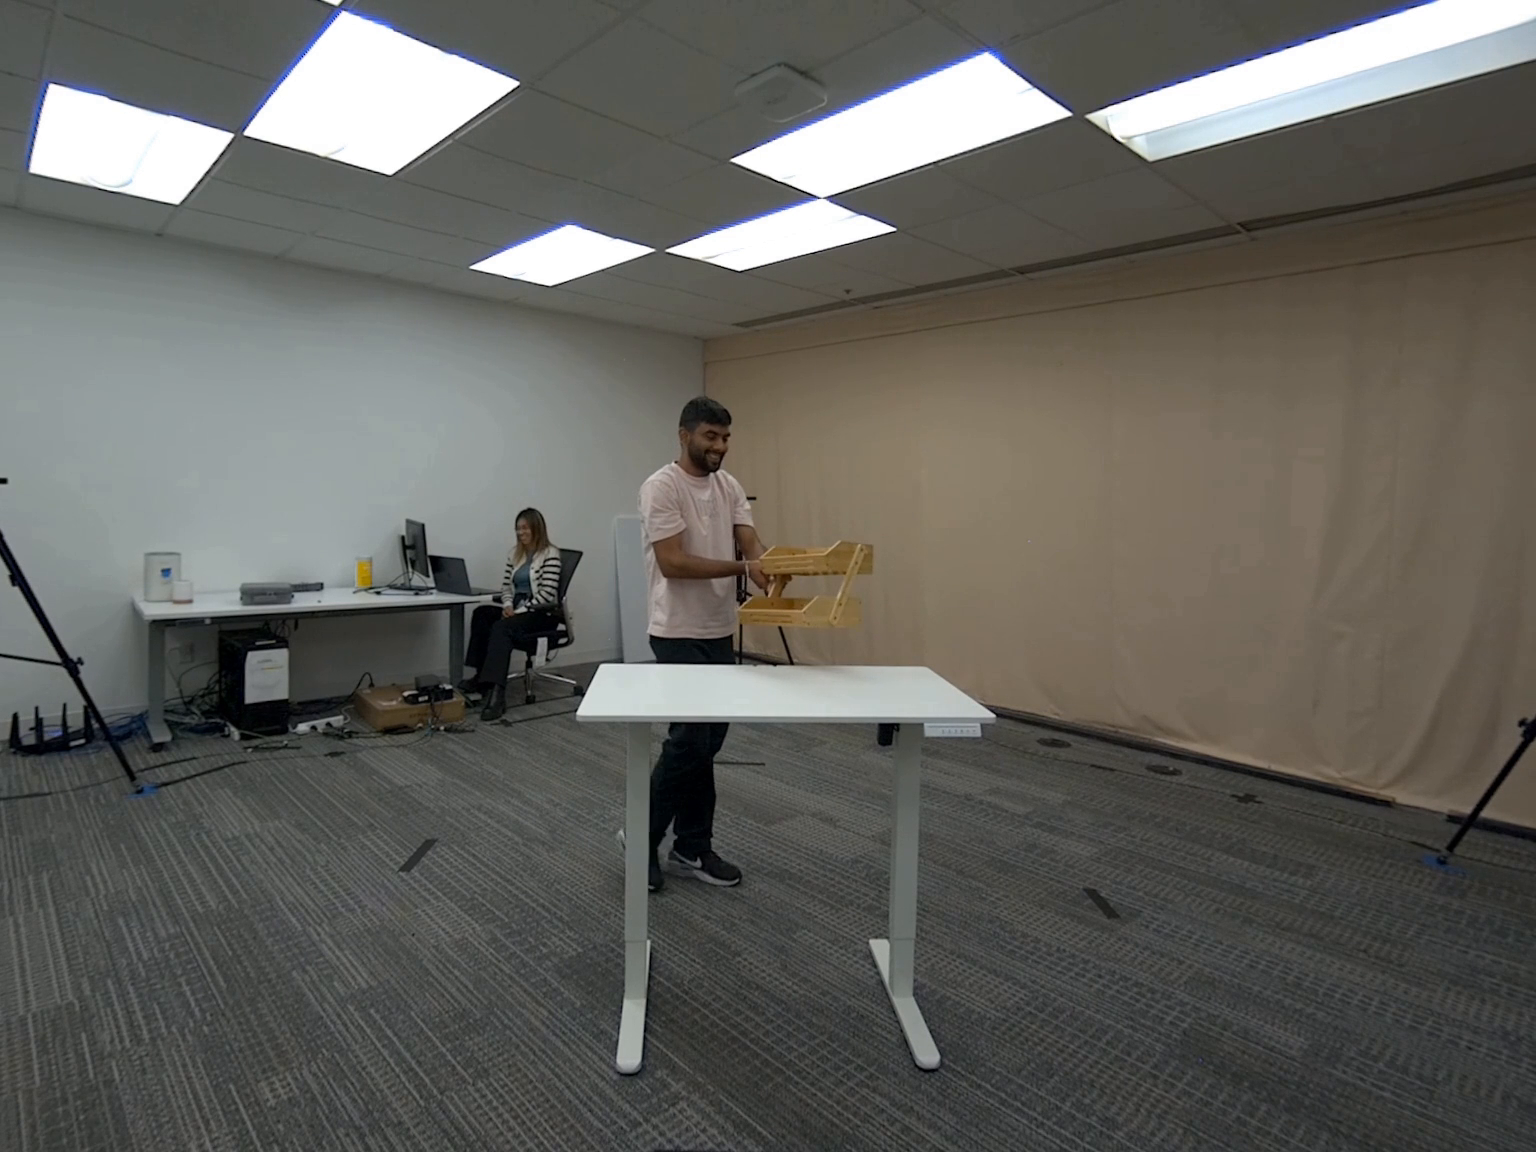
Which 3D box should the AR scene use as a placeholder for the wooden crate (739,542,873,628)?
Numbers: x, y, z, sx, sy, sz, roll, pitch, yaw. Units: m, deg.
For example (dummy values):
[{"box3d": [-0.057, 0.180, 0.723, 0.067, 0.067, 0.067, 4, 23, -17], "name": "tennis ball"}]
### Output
[{"box3d": [0.108, 0.027, 2.640, 0.294, 0.274, 0.331, 5, -5, -41], "name": "wooden crate"}]
